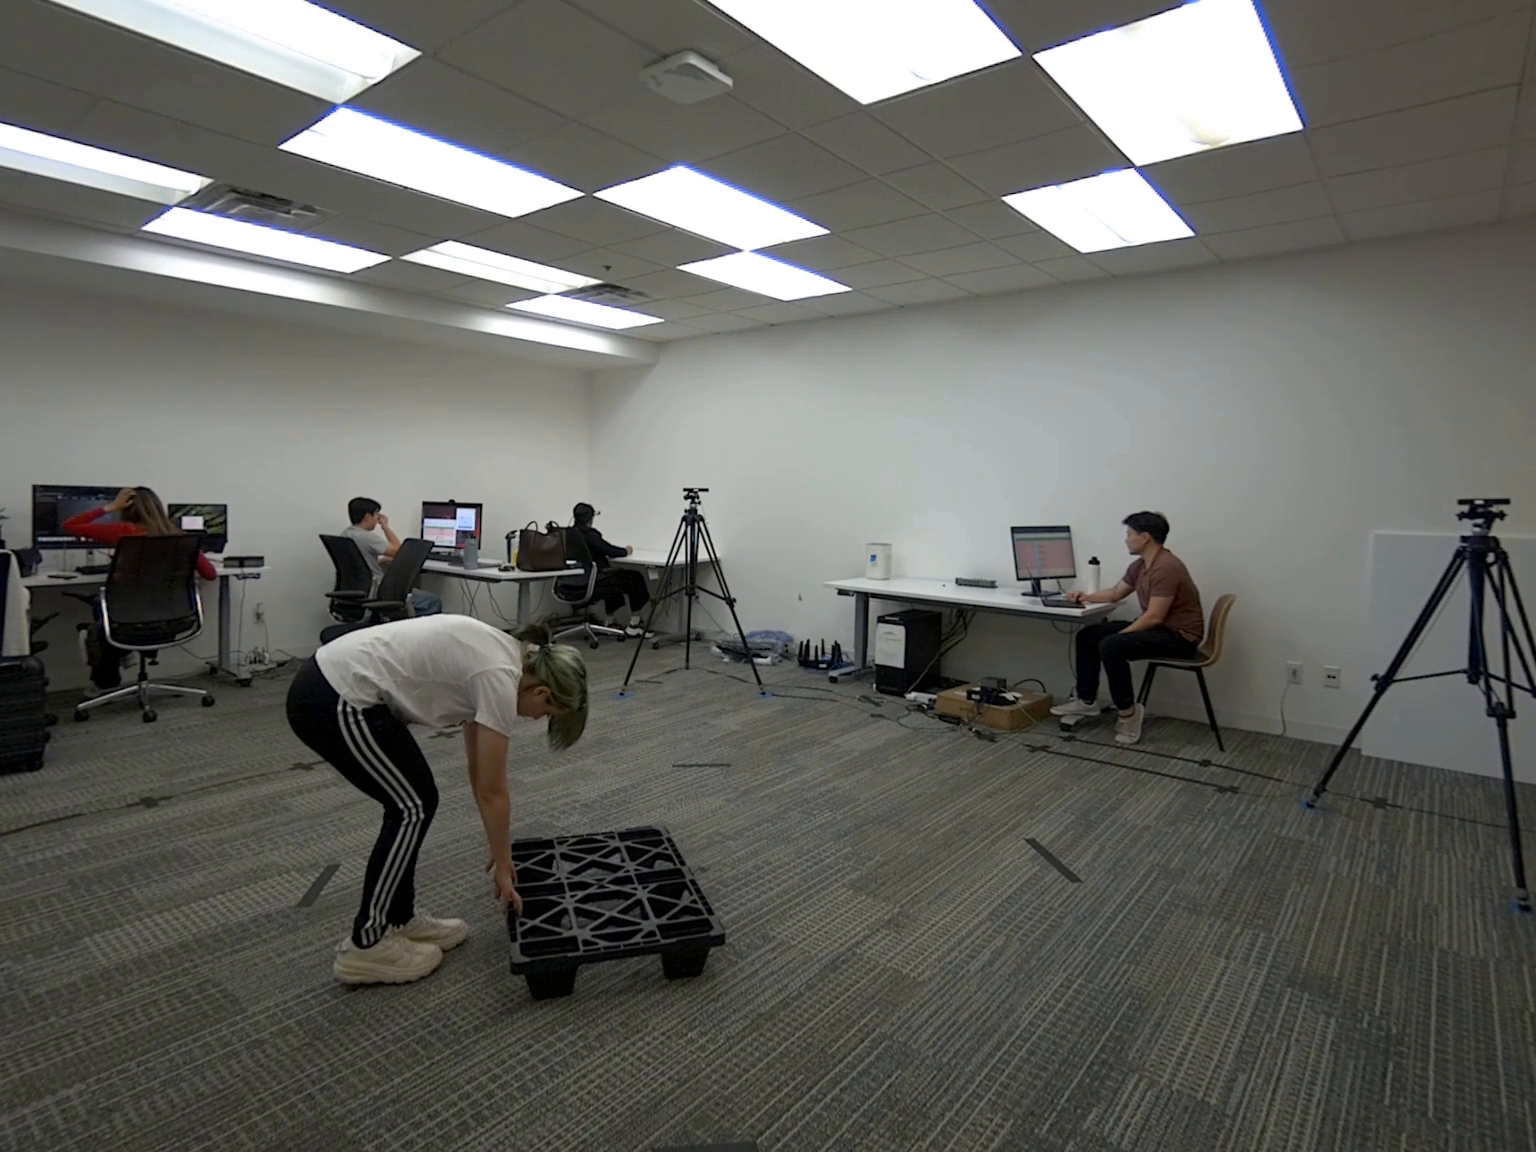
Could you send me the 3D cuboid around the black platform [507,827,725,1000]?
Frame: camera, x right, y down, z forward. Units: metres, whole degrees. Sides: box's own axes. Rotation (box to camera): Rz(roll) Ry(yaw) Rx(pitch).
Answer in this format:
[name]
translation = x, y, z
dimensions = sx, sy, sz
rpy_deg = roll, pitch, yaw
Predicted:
[black platform]
translation = -0.538, 1.035, 2.705
dimensions = 0.594, 0.143, 0.824
rpy_deg = -3, 6, -19
